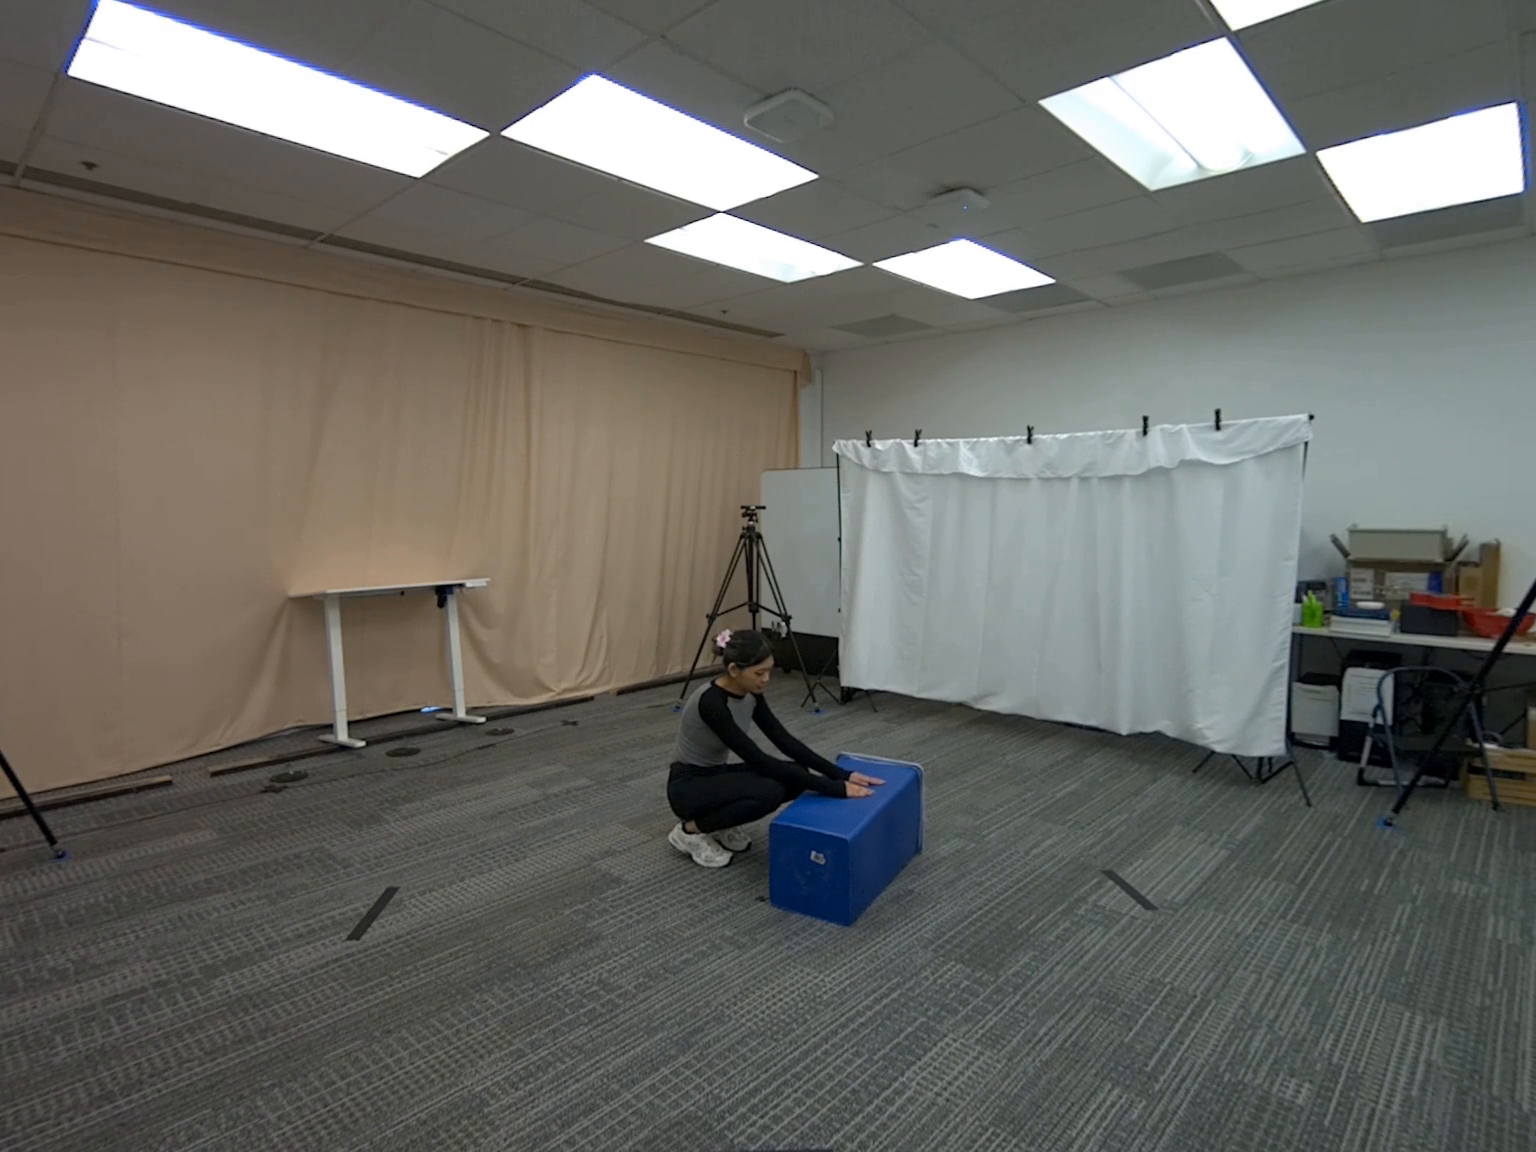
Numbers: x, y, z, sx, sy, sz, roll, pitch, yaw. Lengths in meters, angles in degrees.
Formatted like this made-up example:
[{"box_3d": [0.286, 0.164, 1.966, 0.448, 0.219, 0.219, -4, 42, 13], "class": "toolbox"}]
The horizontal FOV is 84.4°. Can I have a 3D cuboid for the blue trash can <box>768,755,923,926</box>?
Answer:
[{"box_3d": [0.298, 0.962, 3.142, 0.385, 0.376, 0.696, 3, 8, 28], "class": "blue trash can"}]
